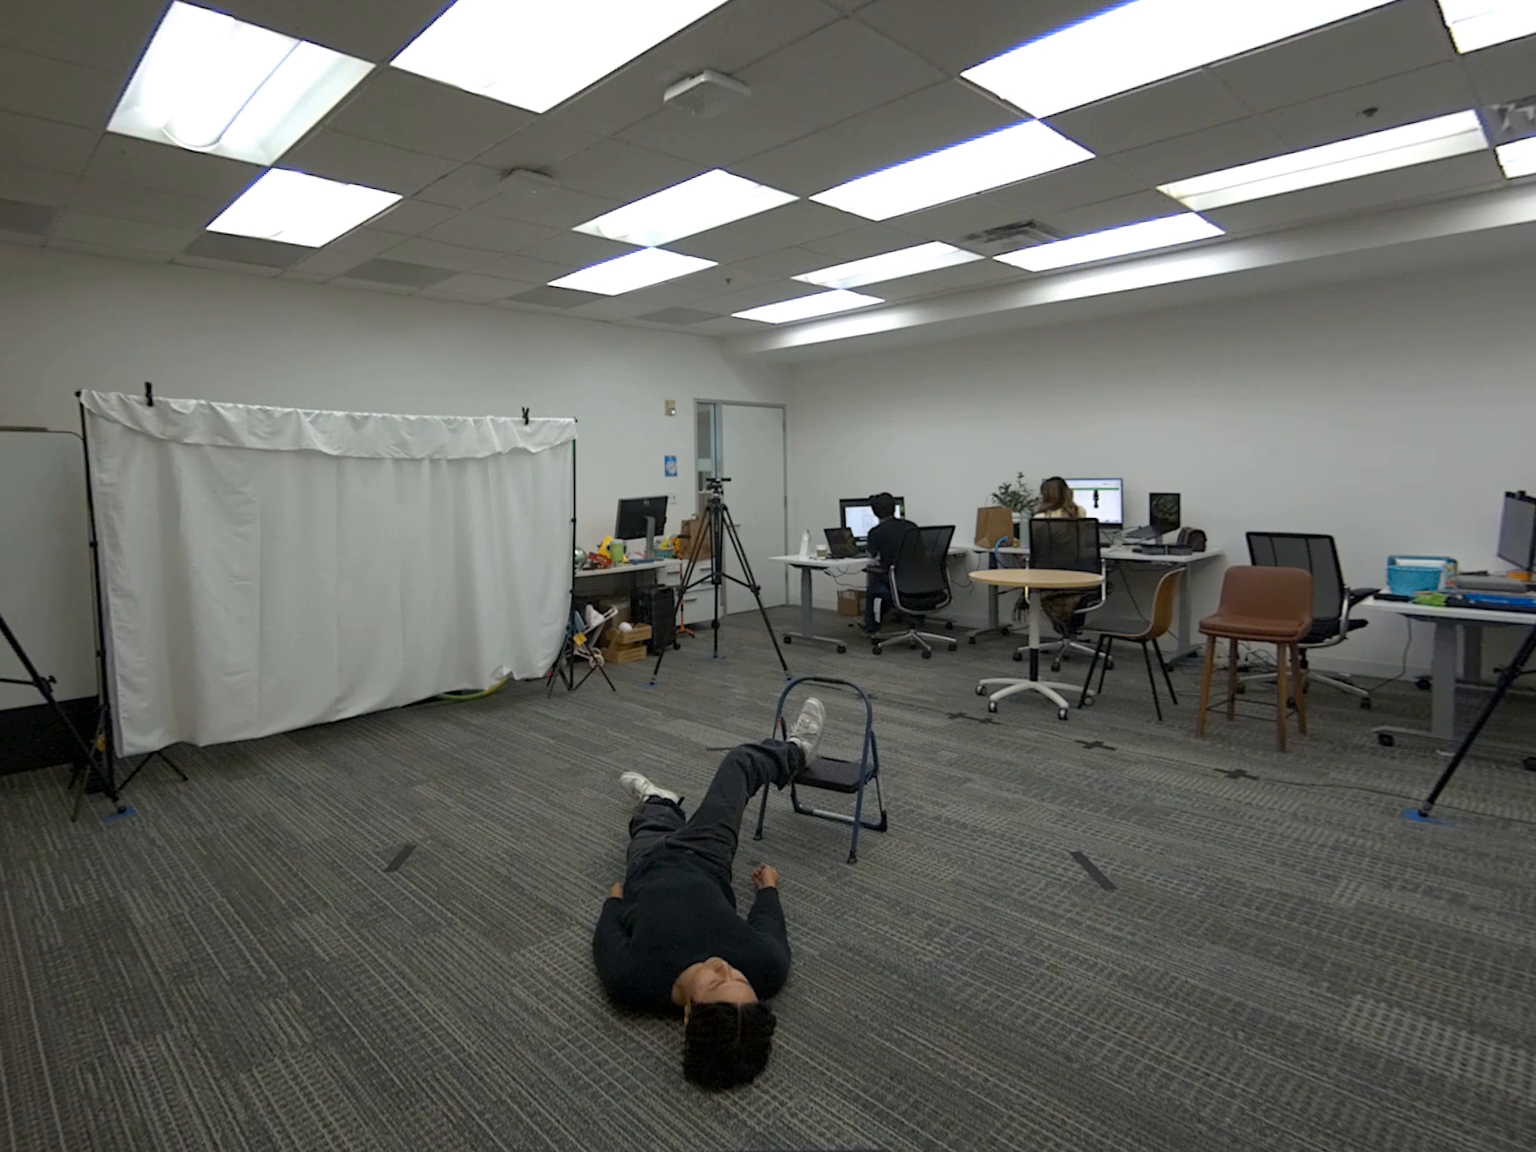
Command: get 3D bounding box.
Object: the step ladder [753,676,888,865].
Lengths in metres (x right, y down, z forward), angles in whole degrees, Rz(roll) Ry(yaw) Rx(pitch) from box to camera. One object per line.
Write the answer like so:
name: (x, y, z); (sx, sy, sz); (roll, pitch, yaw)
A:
step ladder: (0.210, 0.712, 3.321); (0.442, 0.604, 0.341); (2, 5, 32)
